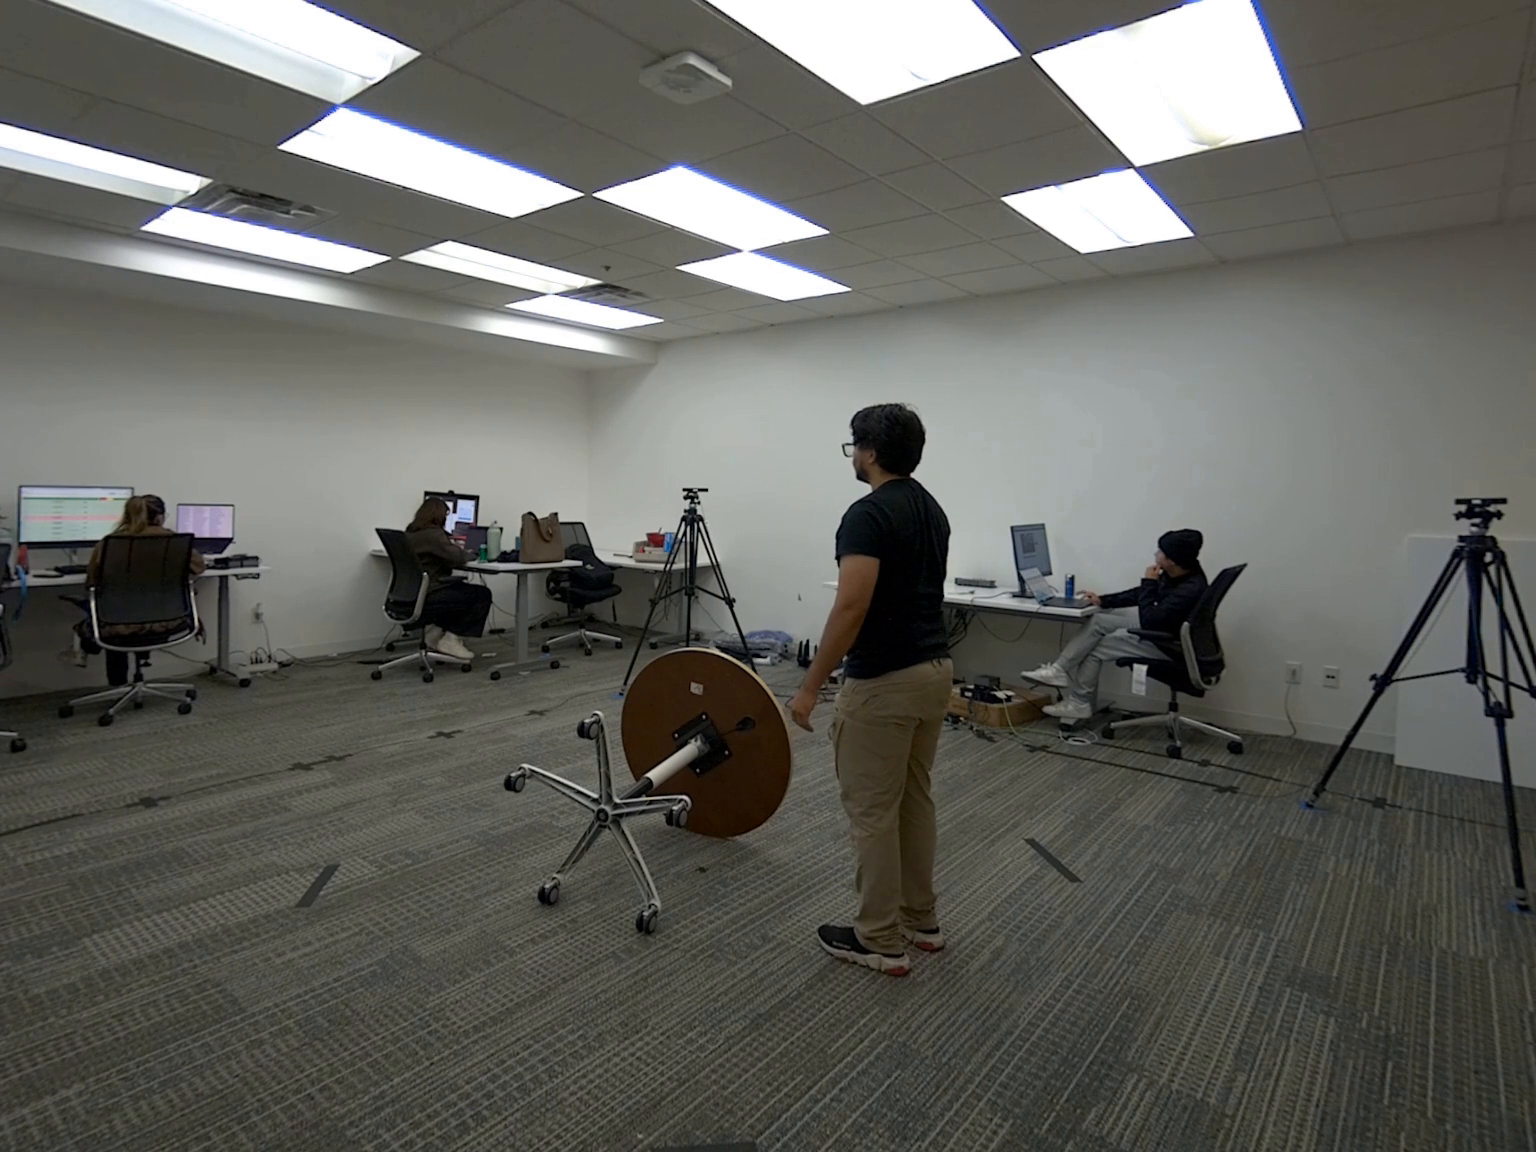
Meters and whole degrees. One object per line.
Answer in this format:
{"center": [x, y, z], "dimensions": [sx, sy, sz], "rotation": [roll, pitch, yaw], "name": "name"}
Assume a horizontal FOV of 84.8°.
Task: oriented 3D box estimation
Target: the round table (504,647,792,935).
{"center": [-0.424, 0.714, 3.042], "dimensions": [0.806, 0.779, 0.772], "rotation": [3, 9, 25], "name": "round table"}
